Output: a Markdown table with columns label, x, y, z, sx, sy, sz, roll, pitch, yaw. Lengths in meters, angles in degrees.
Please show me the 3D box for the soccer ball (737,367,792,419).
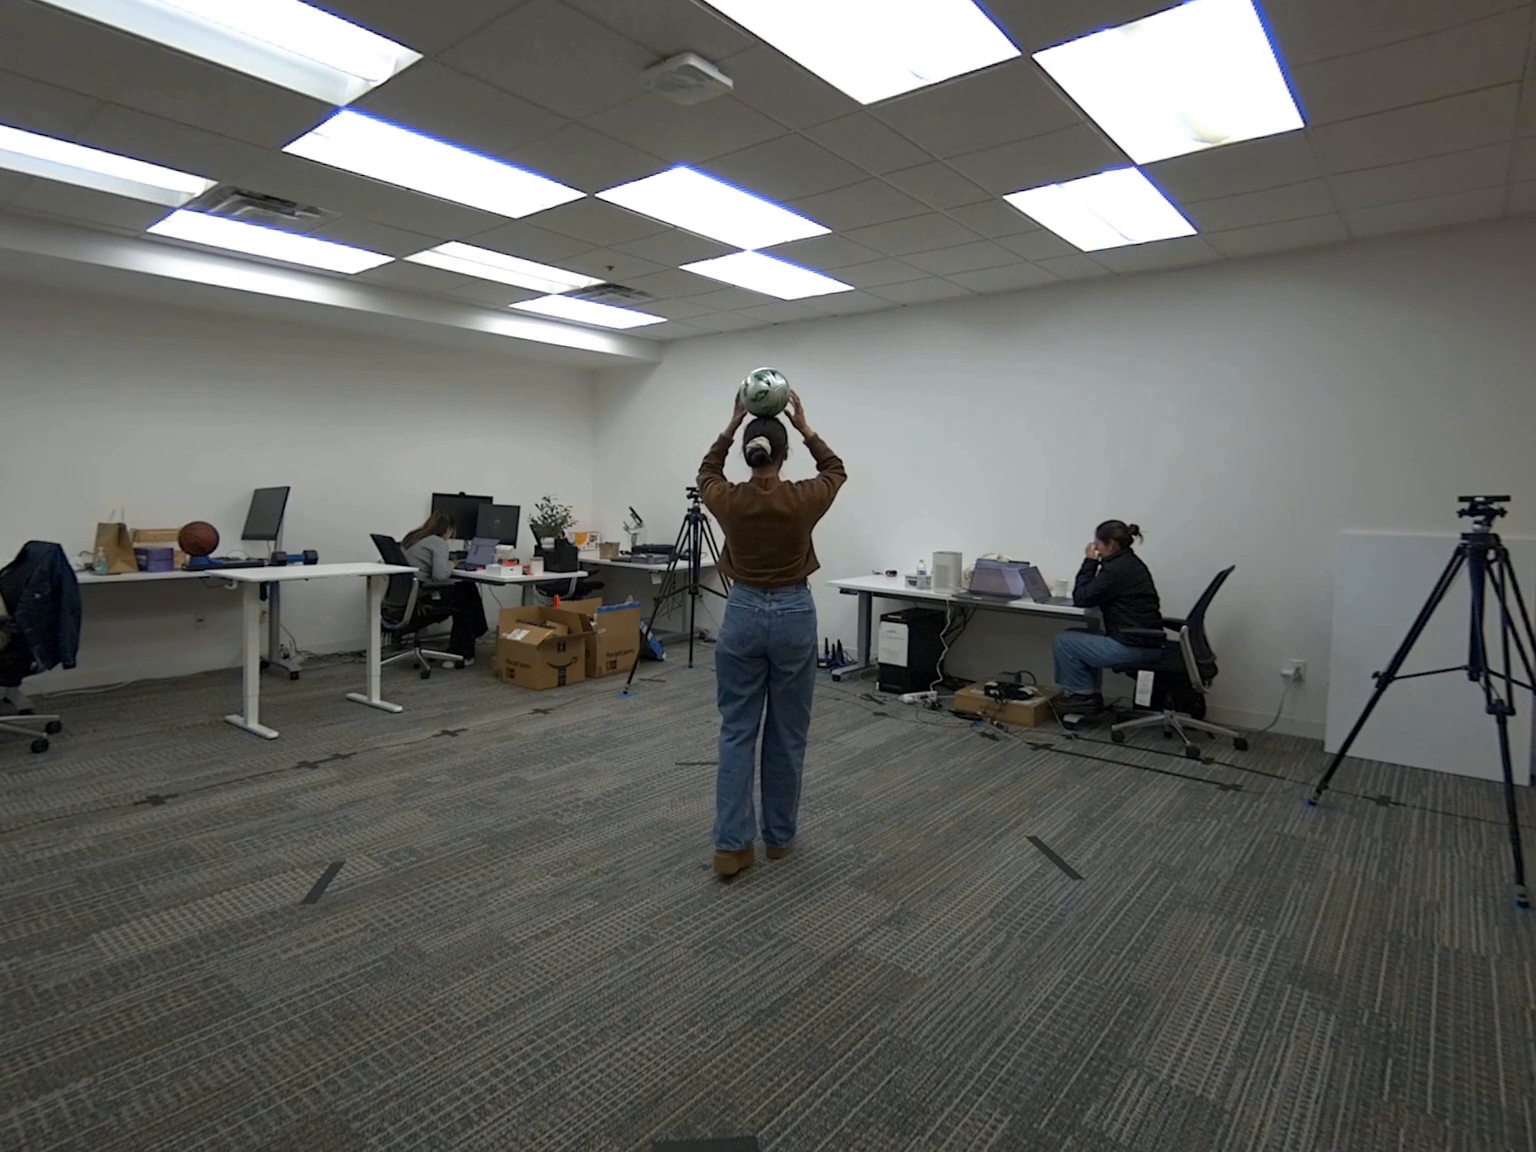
| label | x | y | z | sx | sy | sz | roll | pitch | yaw |
| --- | --- | --- | --- | --- | --- | --- | --- | --- | --- |
| soccer ball | -0.023 | -0.684 | 3.179 | 0.187 | 0.187 | 0.188 | 1 | 4 | -2 |
